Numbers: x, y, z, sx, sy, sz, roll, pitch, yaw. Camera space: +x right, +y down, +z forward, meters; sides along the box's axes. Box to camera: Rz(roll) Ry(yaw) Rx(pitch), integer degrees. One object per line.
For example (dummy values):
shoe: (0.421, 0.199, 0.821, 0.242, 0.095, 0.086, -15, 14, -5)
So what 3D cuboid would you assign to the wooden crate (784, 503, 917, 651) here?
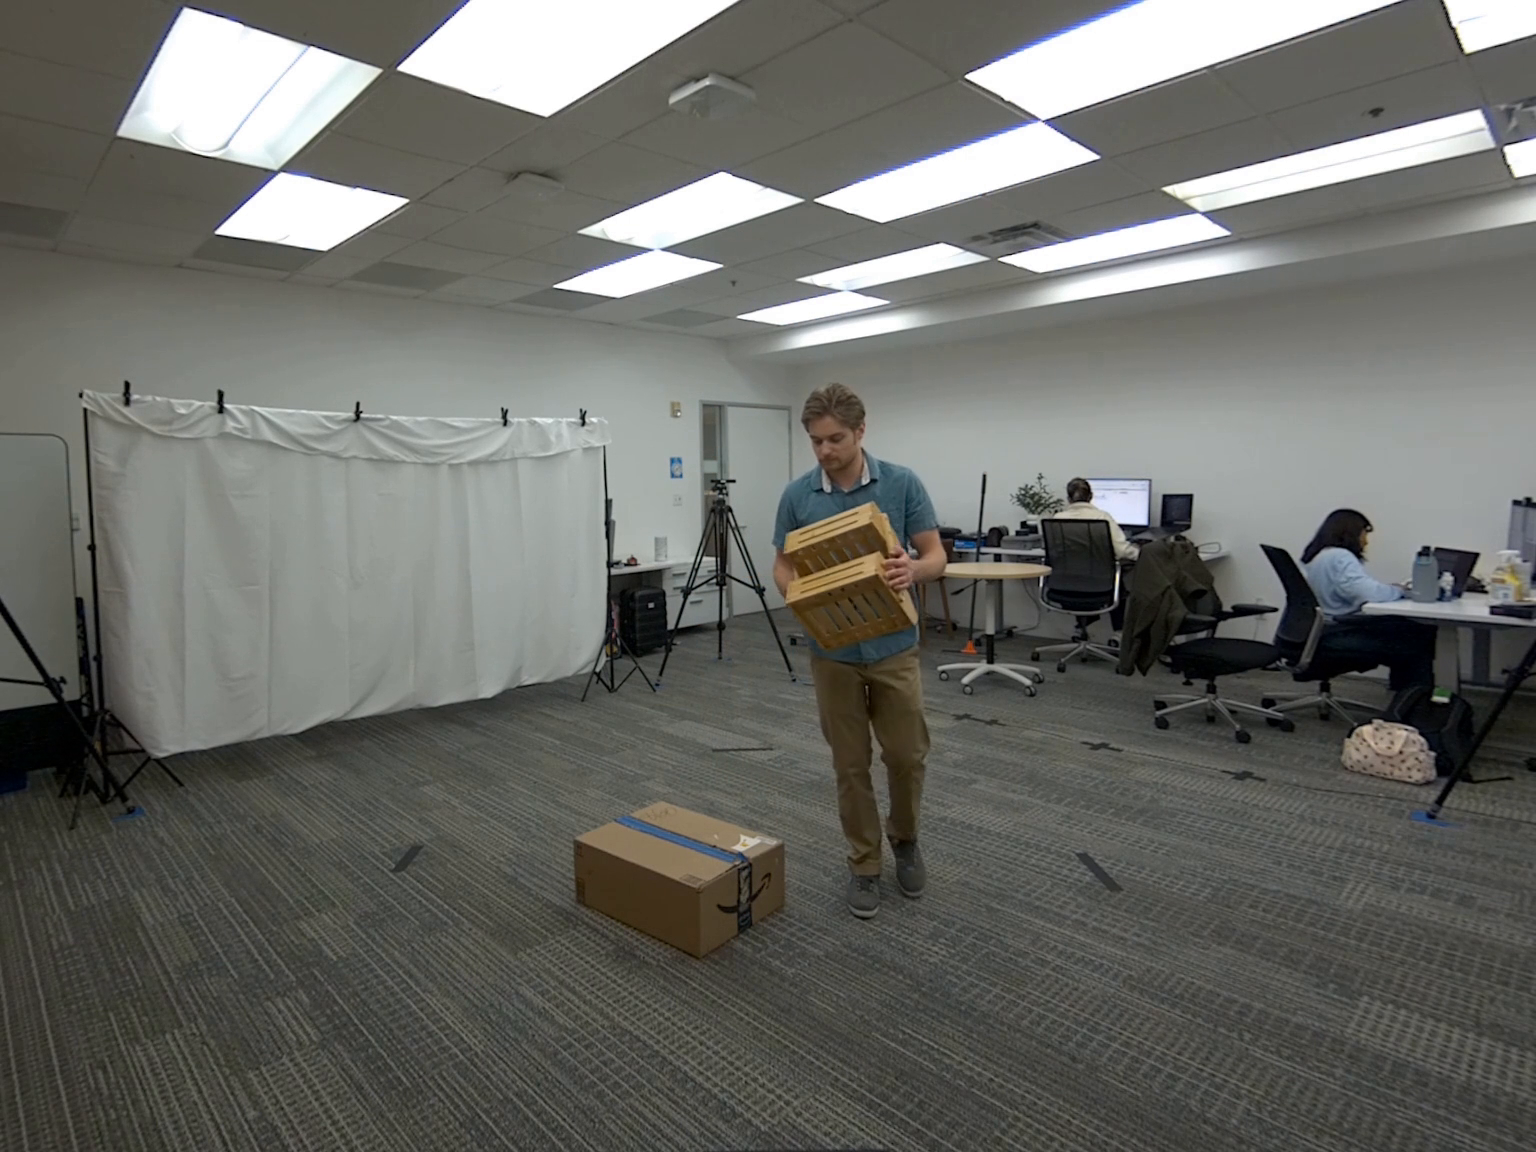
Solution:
wooden crate: (0.249, 0.011, 2.575, 0.329, 0.292, 0.279, -21, 36, 28)
